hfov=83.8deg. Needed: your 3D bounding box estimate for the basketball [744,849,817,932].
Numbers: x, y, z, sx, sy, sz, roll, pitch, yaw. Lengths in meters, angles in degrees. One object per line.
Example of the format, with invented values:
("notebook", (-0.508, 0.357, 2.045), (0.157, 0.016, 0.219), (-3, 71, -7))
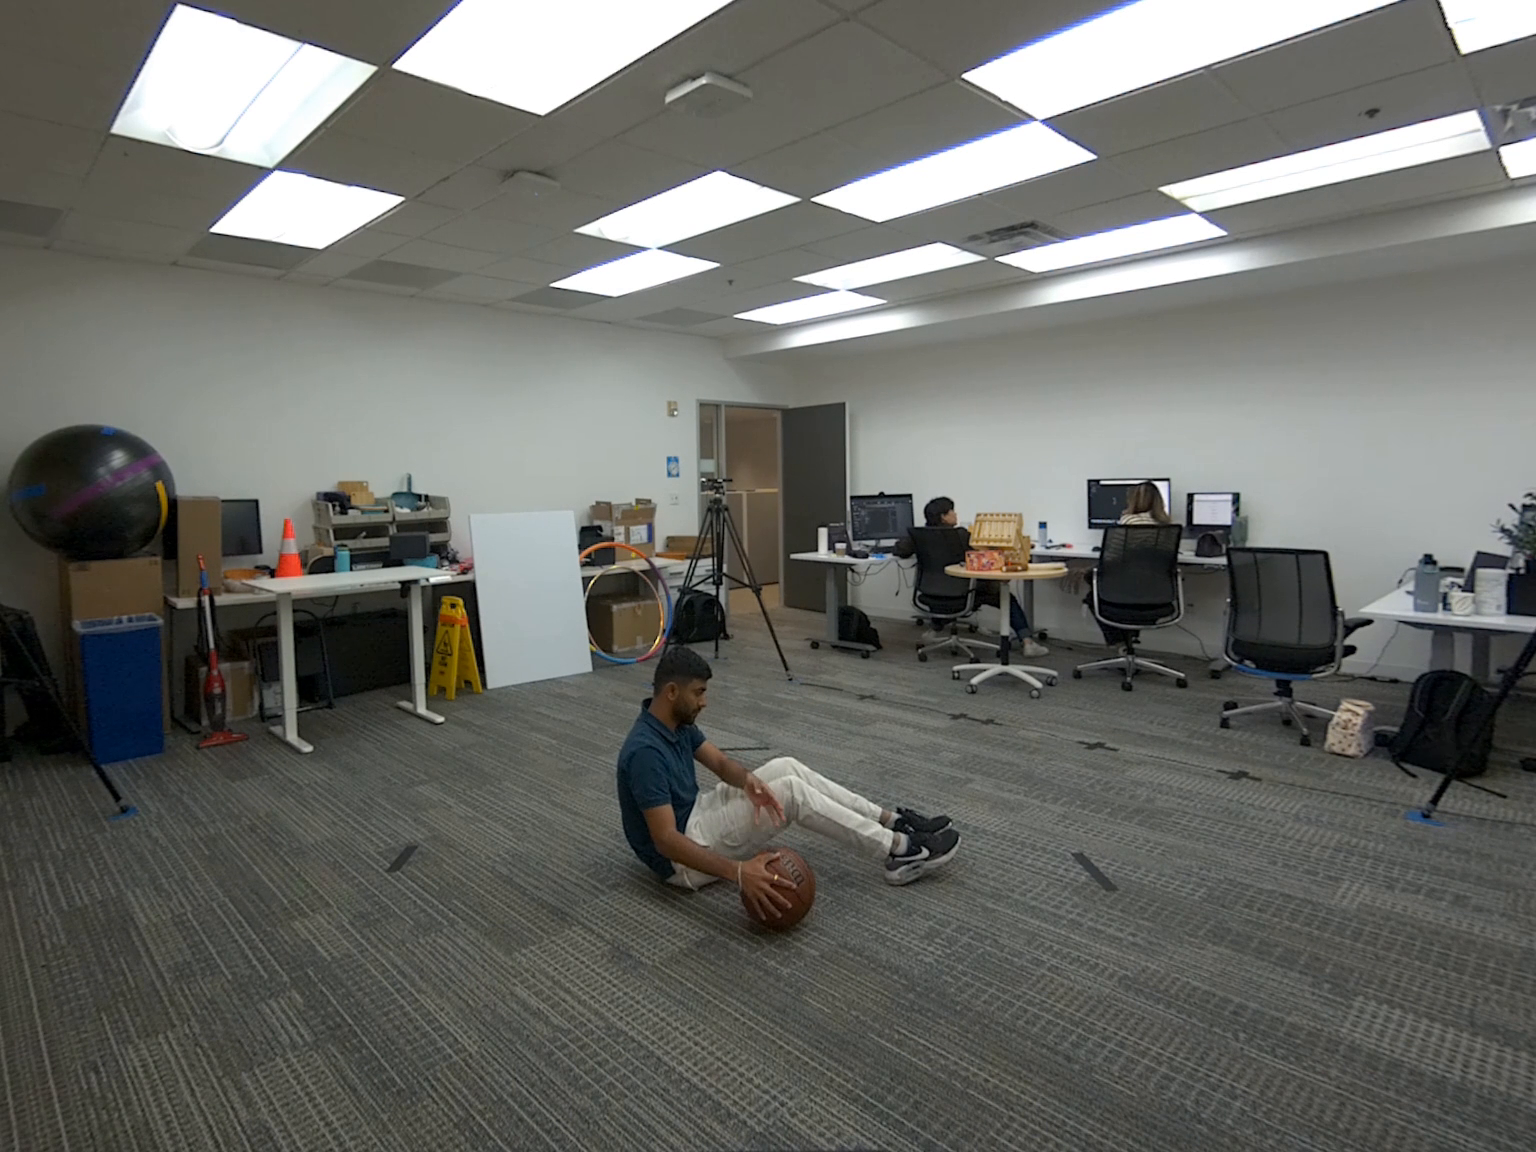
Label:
("basketball", (0.025, 0.970, 2.679), (0.236, 0.235, 0.237), (-1, 5, -2))
